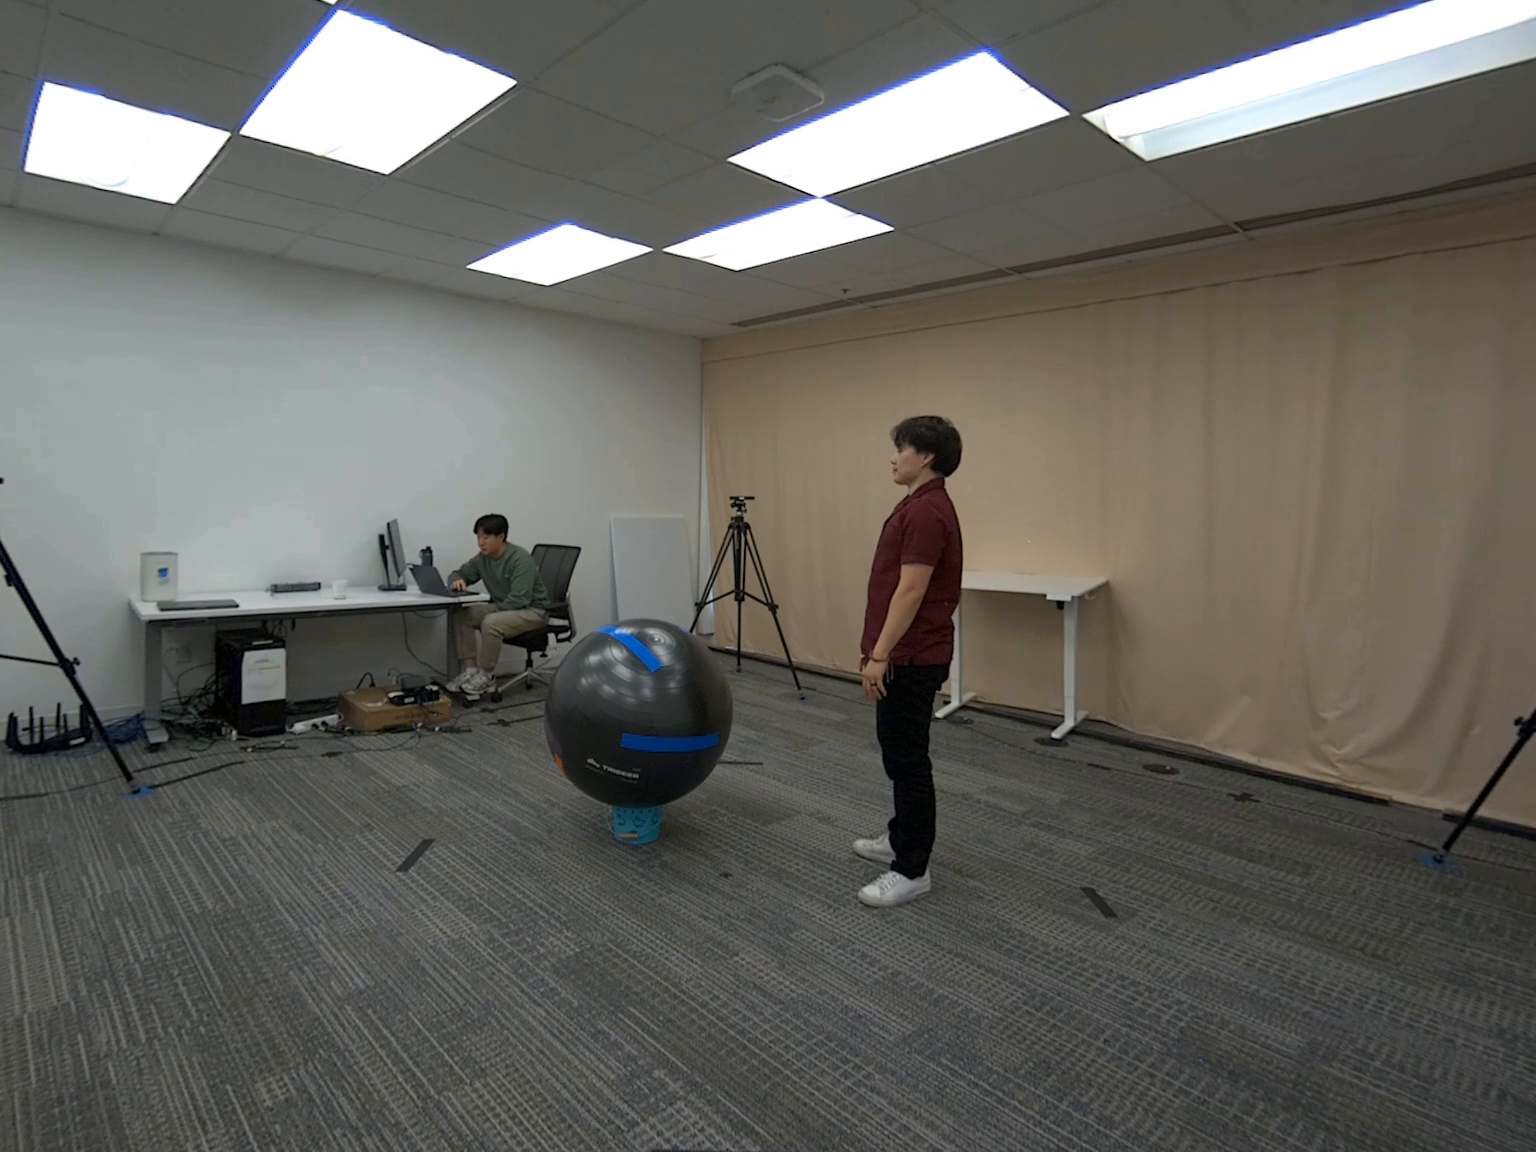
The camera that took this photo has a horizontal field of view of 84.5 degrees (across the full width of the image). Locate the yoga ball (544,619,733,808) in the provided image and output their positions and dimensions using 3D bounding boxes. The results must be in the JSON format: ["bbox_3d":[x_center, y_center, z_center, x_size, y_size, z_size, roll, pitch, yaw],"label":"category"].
[{"bbox_3d":[-0.529,0.556,3.442,0.757,0.756,0.761,1,4,-1],"label":"yoga ball"}]
